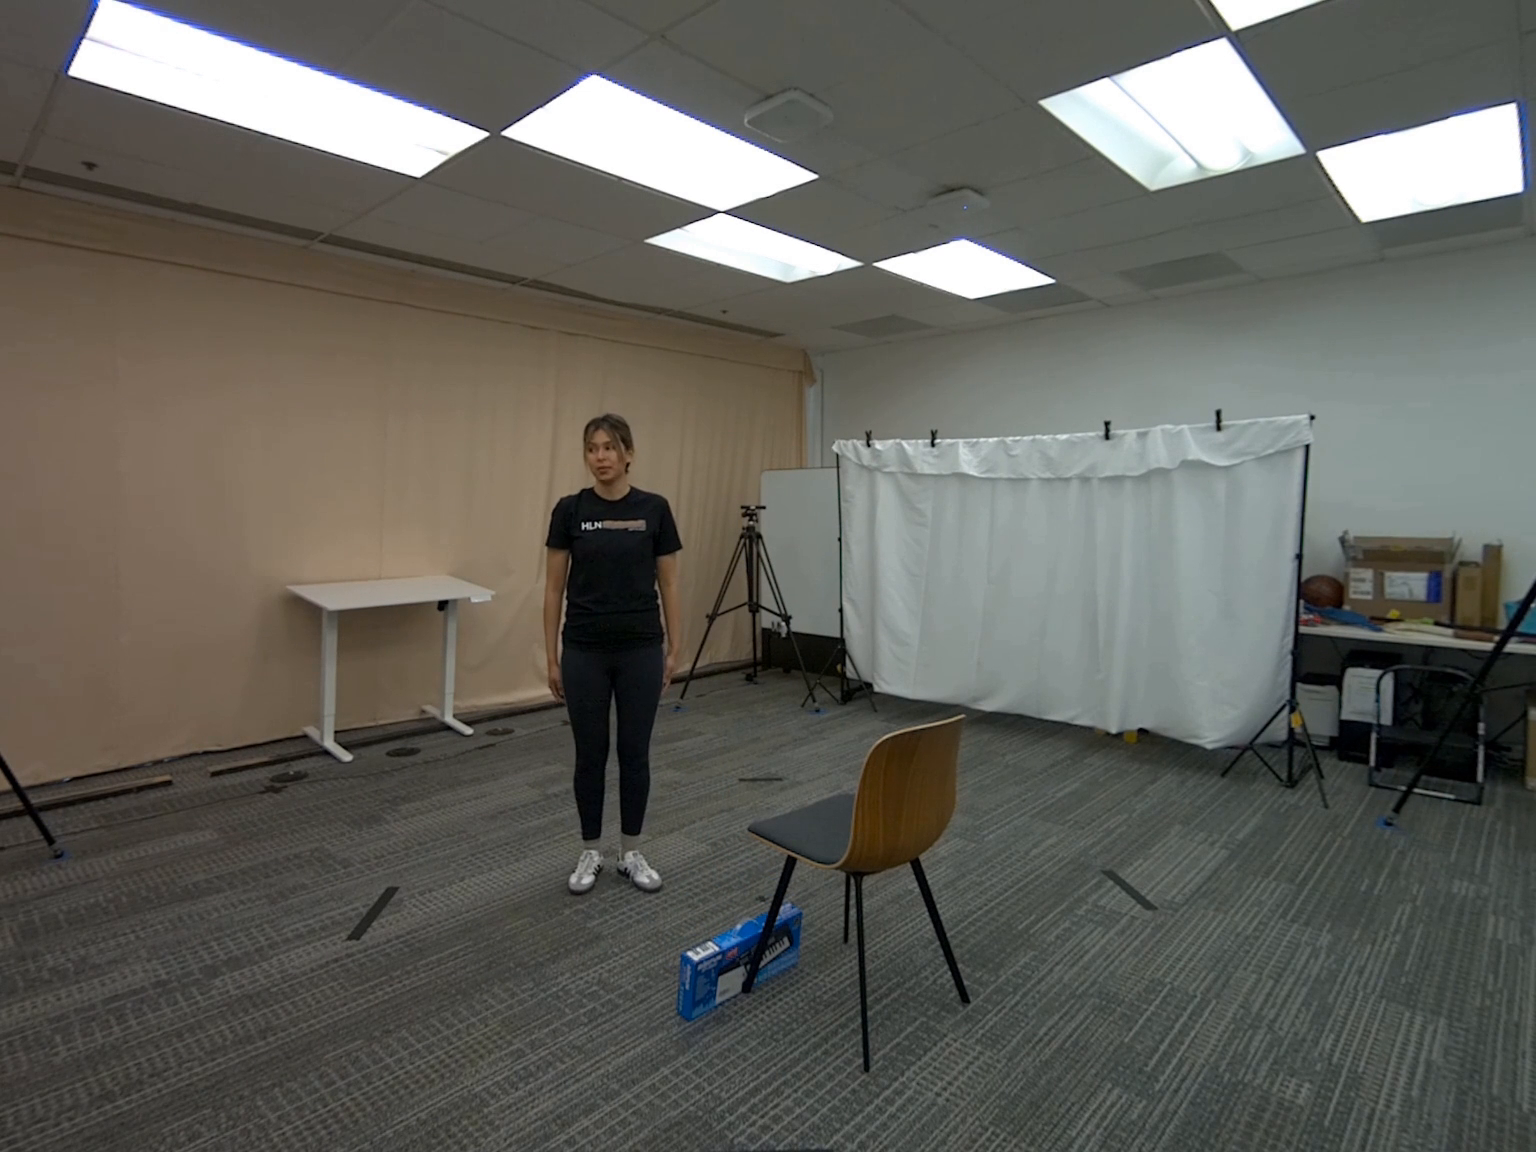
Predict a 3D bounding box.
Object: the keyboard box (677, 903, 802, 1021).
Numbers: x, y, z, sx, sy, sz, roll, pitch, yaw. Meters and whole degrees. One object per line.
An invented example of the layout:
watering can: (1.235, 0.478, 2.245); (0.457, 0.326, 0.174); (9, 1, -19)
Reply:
keyboard box: (-0.074, 1.105, 2.424); (0.423, 0.175, 0.061); (-4, 11, -44)
